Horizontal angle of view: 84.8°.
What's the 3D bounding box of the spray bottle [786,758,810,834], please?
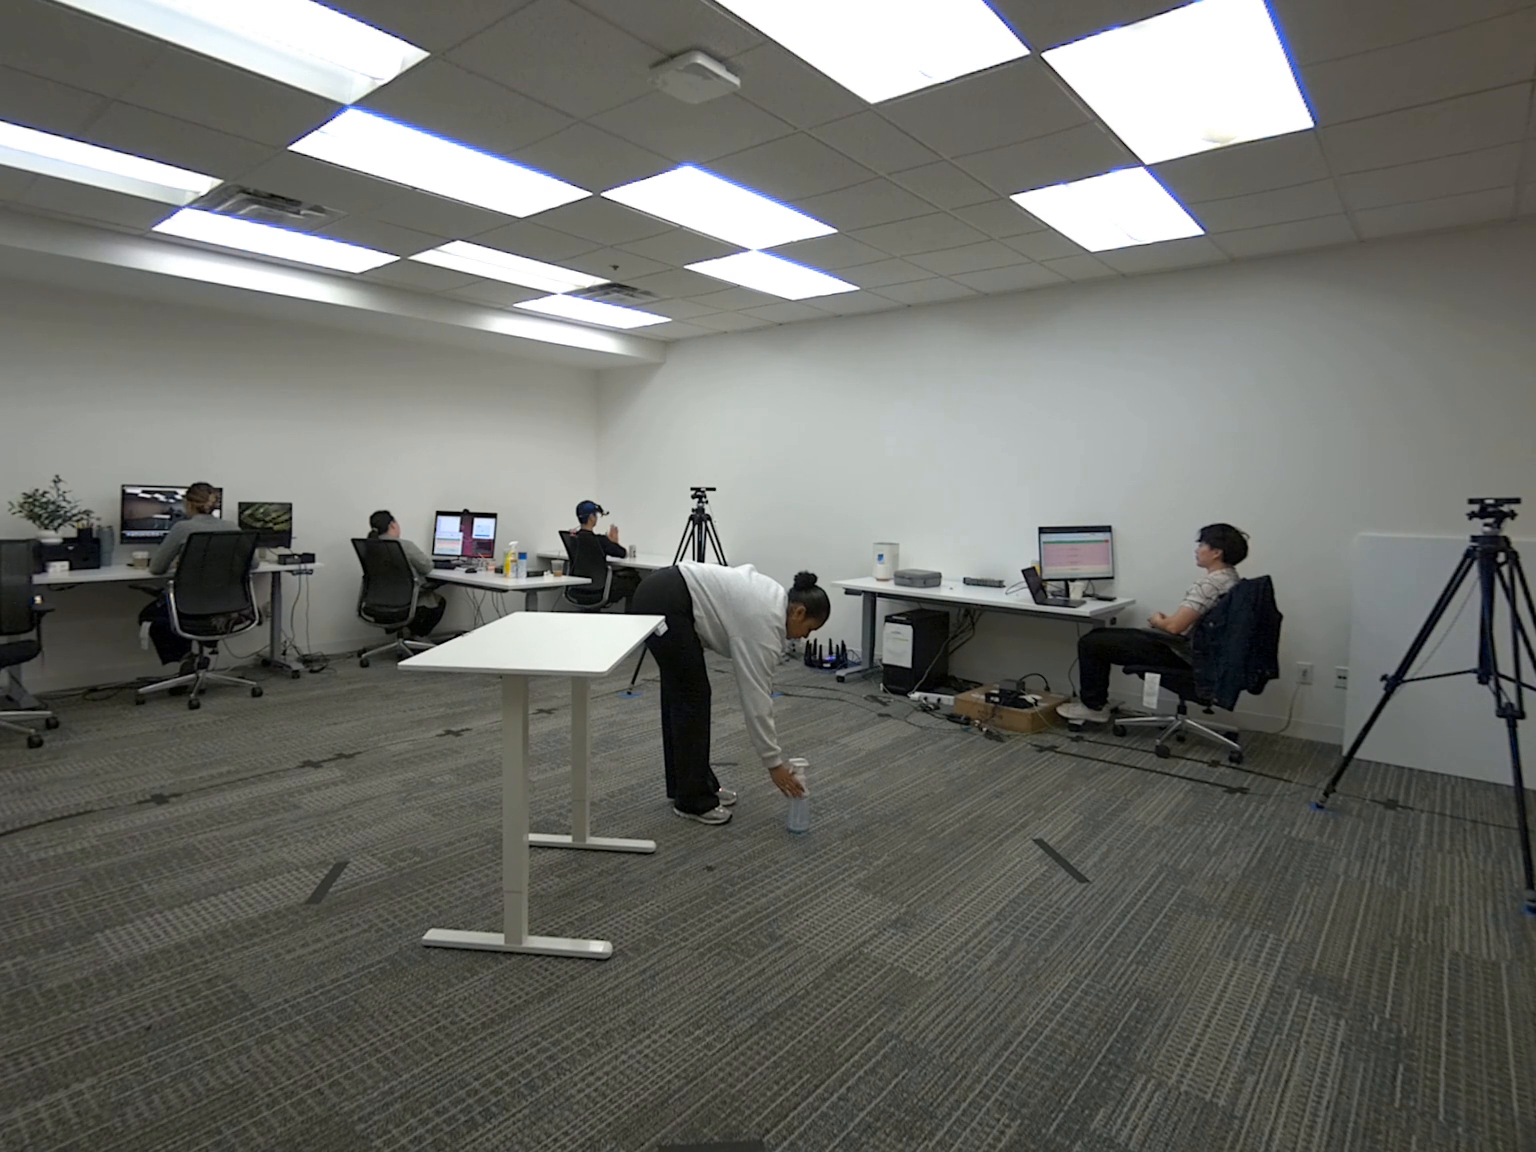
[{"bbox_3d":[0.120,0.894,3.483,0.090,0.296,0.088,2,5,-4],"label":"spray bottle"}]
